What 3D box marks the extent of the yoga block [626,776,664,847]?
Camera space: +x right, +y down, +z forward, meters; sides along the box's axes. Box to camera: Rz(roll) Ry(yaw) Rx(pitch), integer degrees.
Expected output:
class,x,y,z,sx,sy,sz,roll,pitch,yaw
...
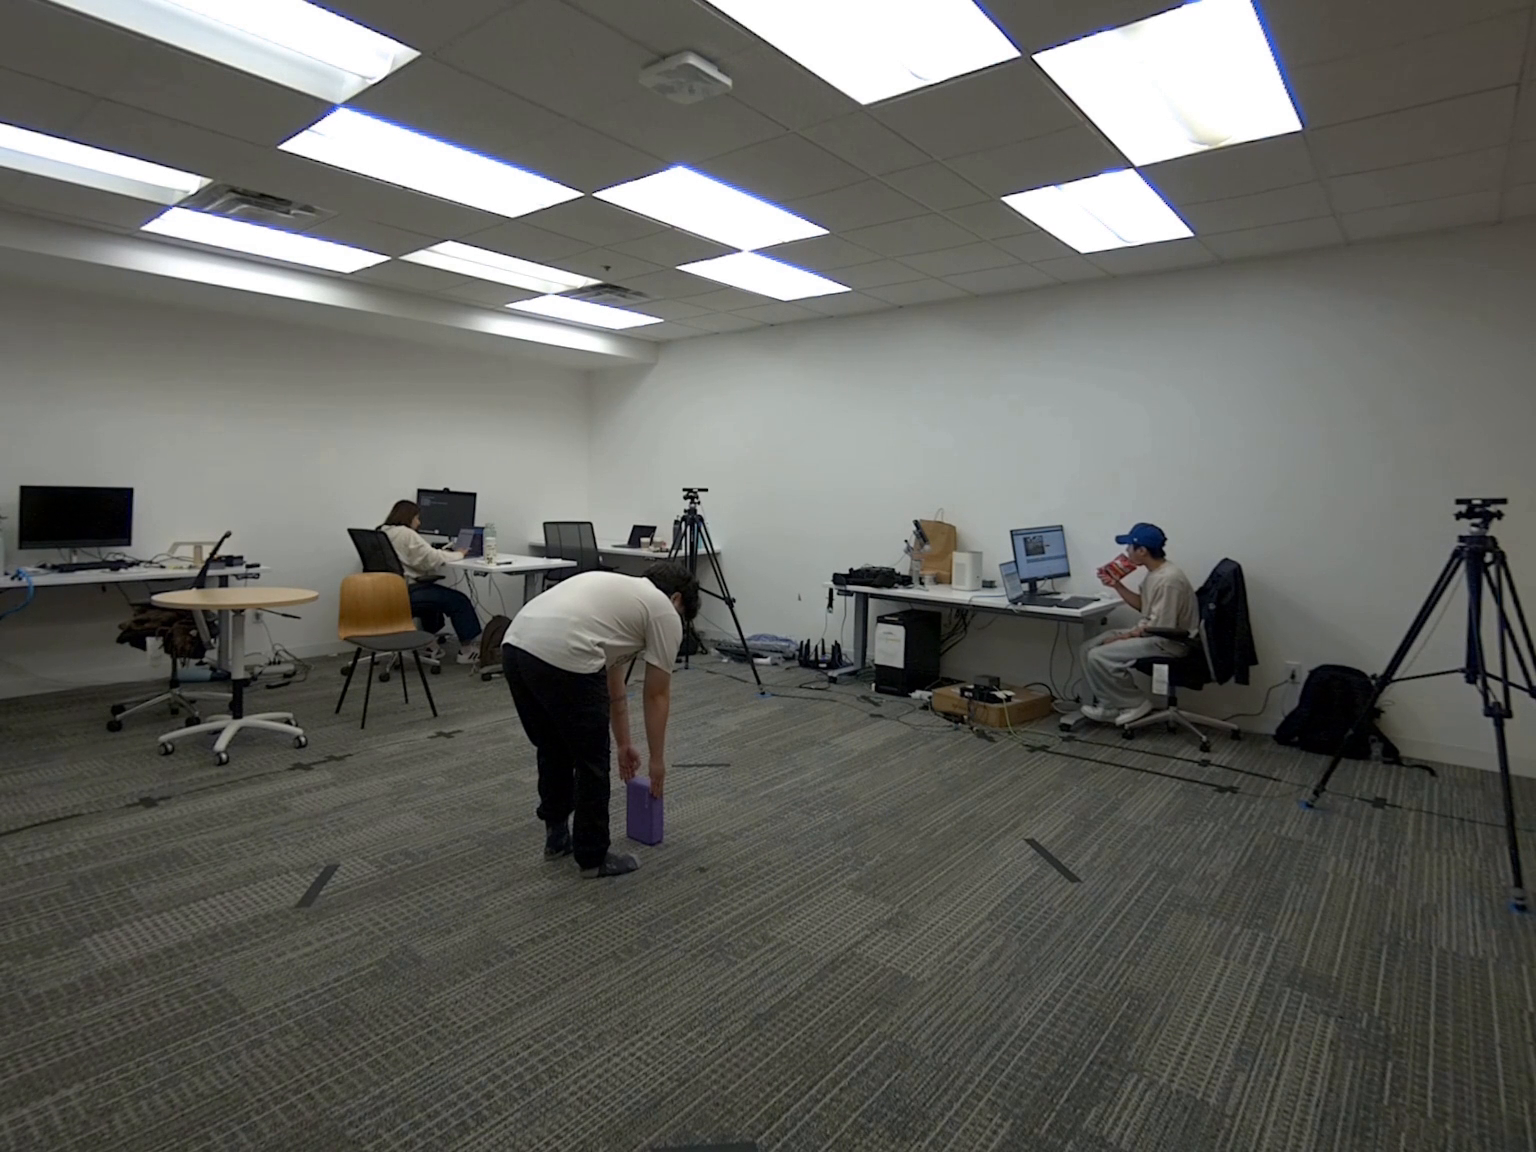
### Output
class,x,y,z,sx,sy,sz,roll,pitch,yaw
yoga block,-0.504,0.930,3.368,0.154,0.228,0.074,2,5,39
